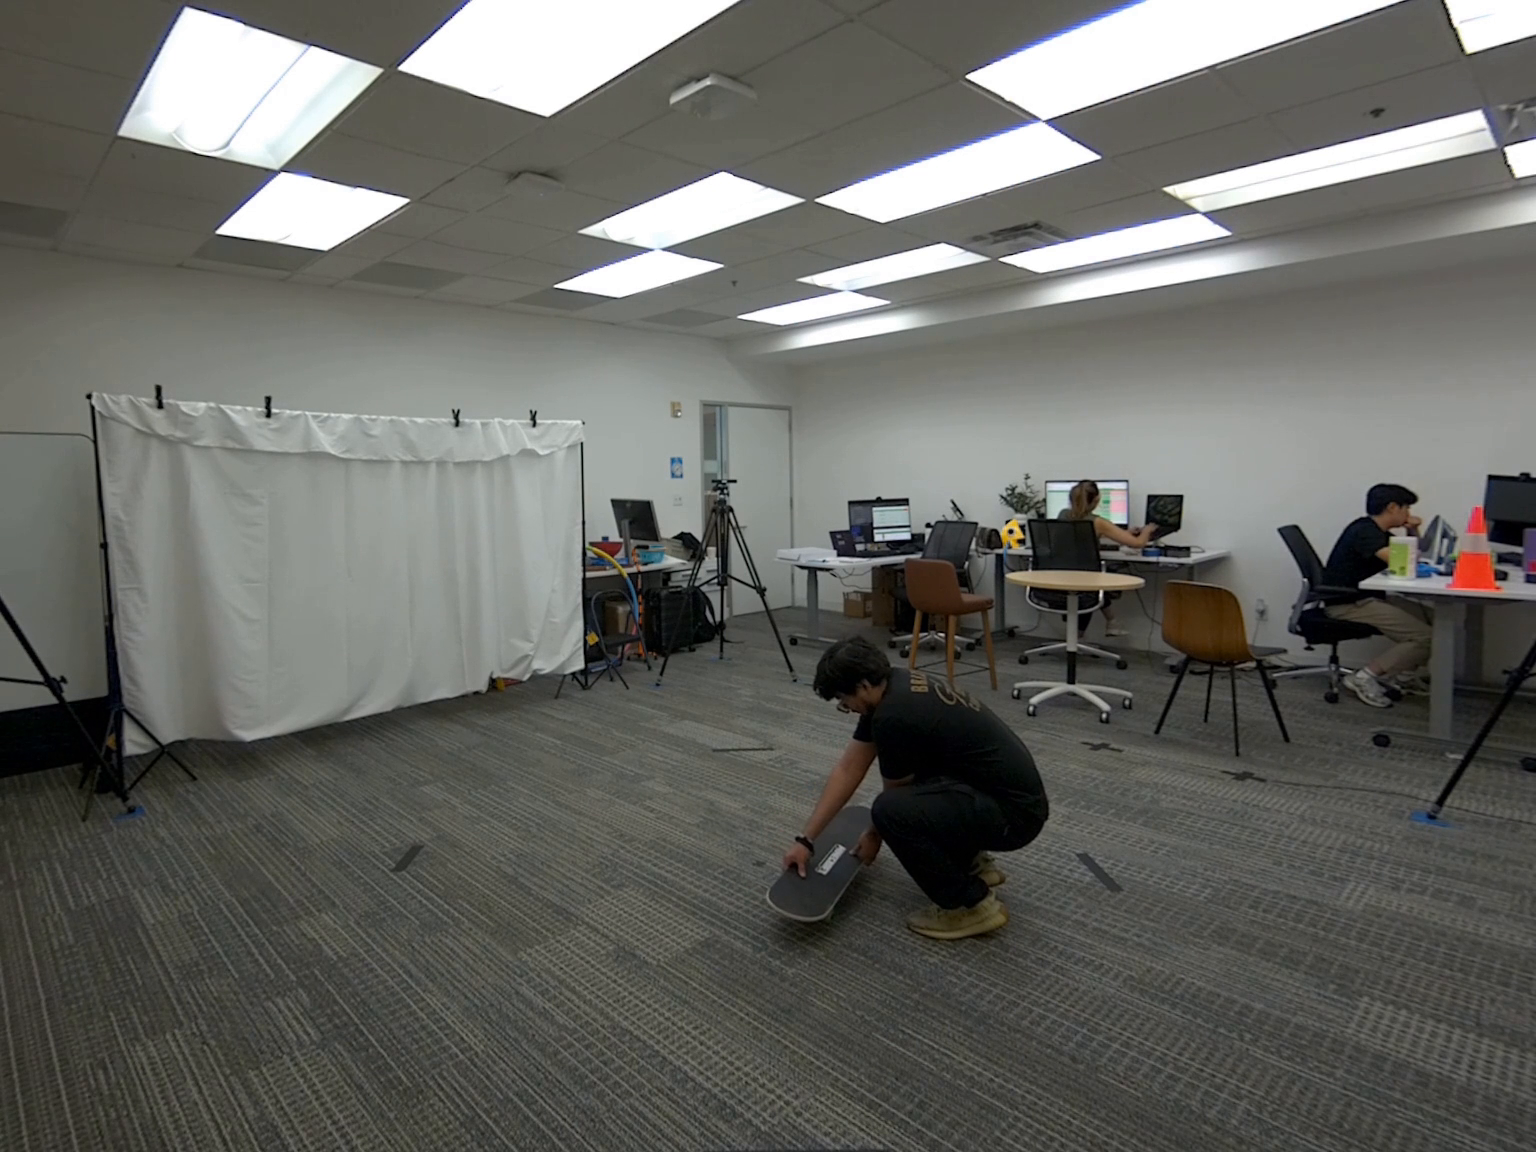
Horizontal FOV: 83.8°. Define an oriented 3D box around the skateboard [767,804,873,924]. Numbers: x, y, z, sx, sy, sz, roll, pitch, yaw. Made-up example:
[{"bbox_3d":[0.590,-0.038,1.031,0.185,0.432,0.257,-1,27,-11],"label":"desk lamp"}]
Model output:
[{"bbox_3d":[0.220,0.987,2.887,0.198,0.109,0.772,14,14,23],"label":"skateboard"}]
